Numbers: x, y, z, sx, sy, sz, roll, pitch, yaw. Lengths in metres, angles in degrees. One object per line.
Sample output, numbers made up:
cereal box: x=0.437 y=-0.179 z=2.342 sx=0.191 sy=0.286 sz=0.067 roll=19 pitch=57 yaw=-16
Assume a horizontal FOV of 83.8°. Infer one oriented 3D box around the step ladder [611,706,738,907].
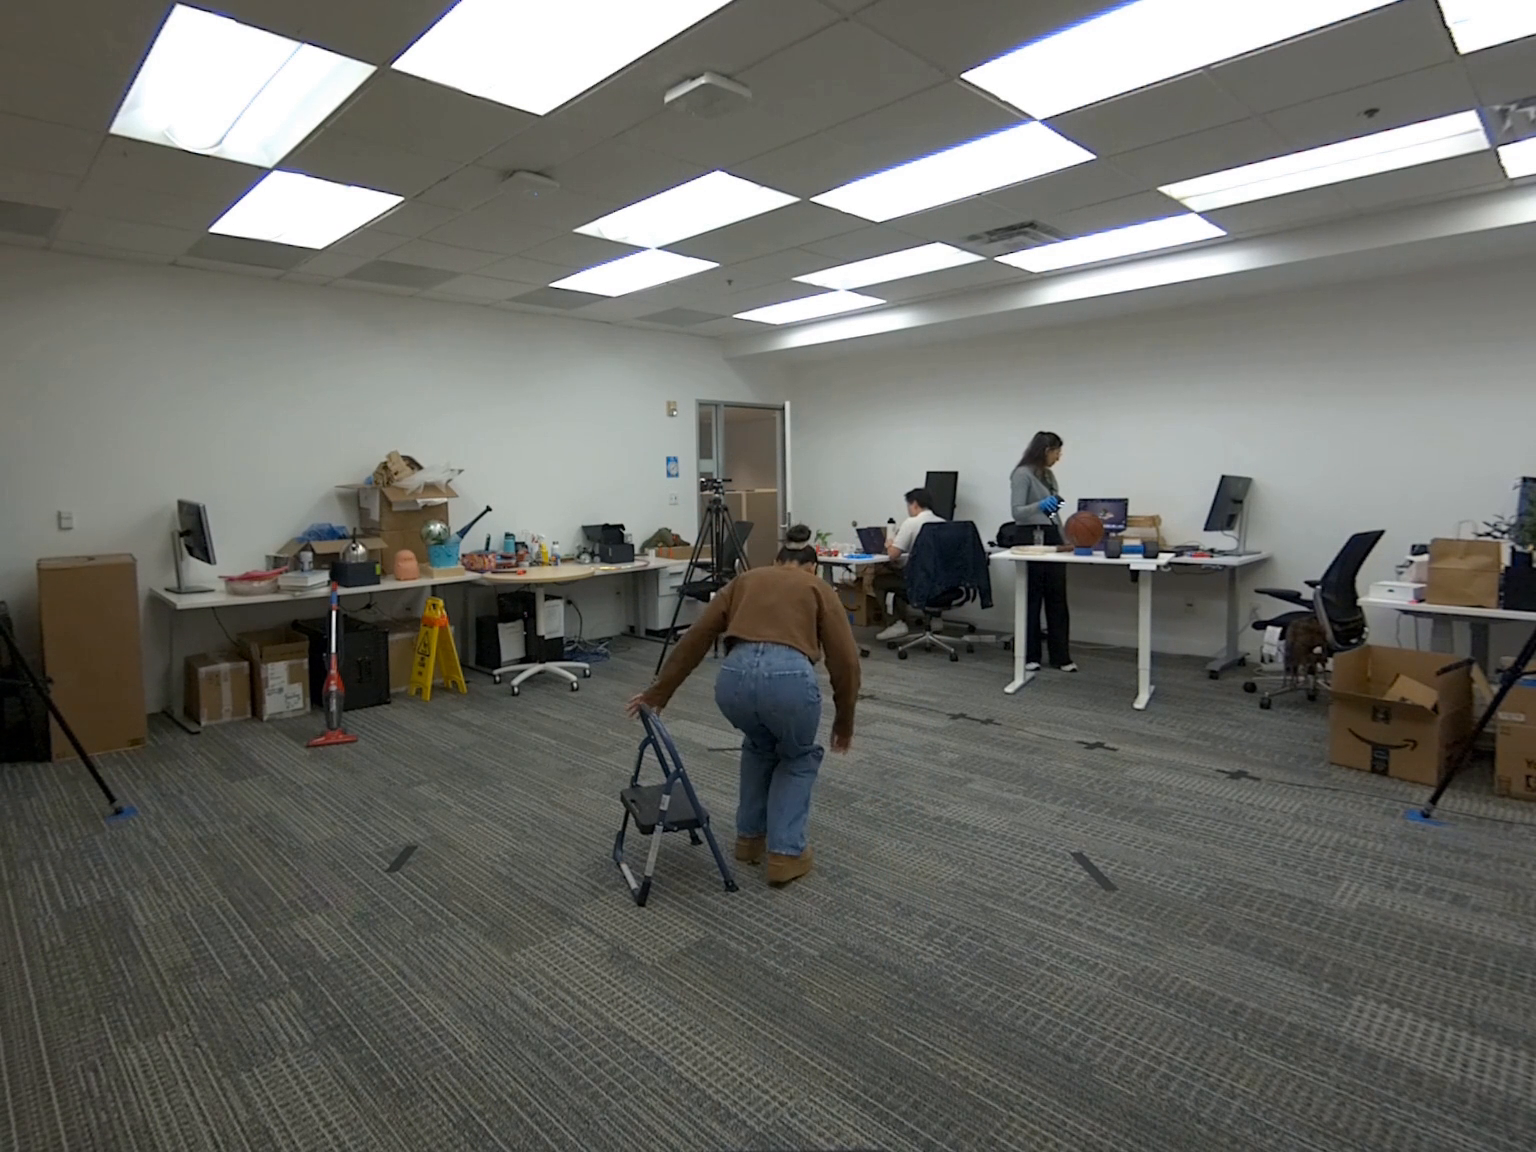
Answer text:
step ladder: x=-0.341 y=0.759 z=3.028 sx=0.343 sy=0.604 sz=0.440 roll=-3 pitch=5 yaw=-21
